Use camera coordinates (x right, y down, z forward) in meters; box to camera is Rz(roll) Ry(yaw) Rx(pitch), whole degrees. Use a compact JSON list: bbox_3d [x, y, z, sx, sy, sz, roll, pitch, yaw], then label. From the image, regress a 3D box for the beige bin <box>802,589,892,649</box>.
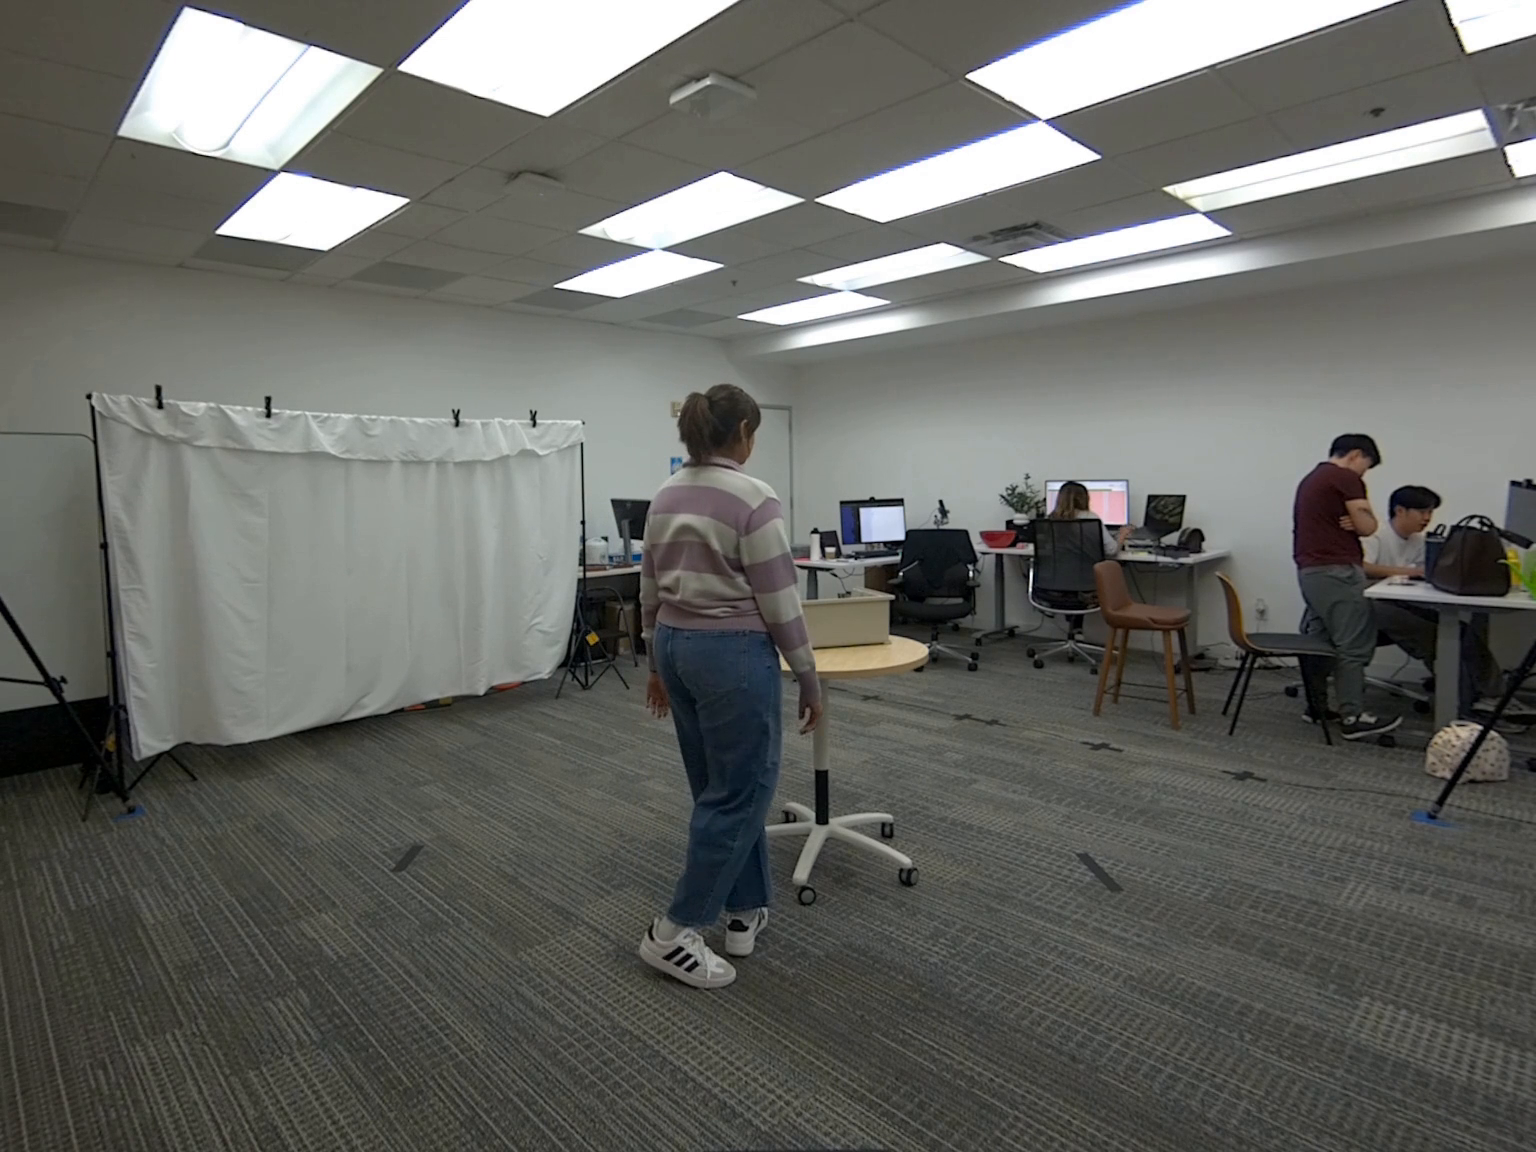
[{"bbox_3d":[0.212,0.163,3.248,0.416,0.188,0.384,-2,5,-15],"label":"beige bin"}]
